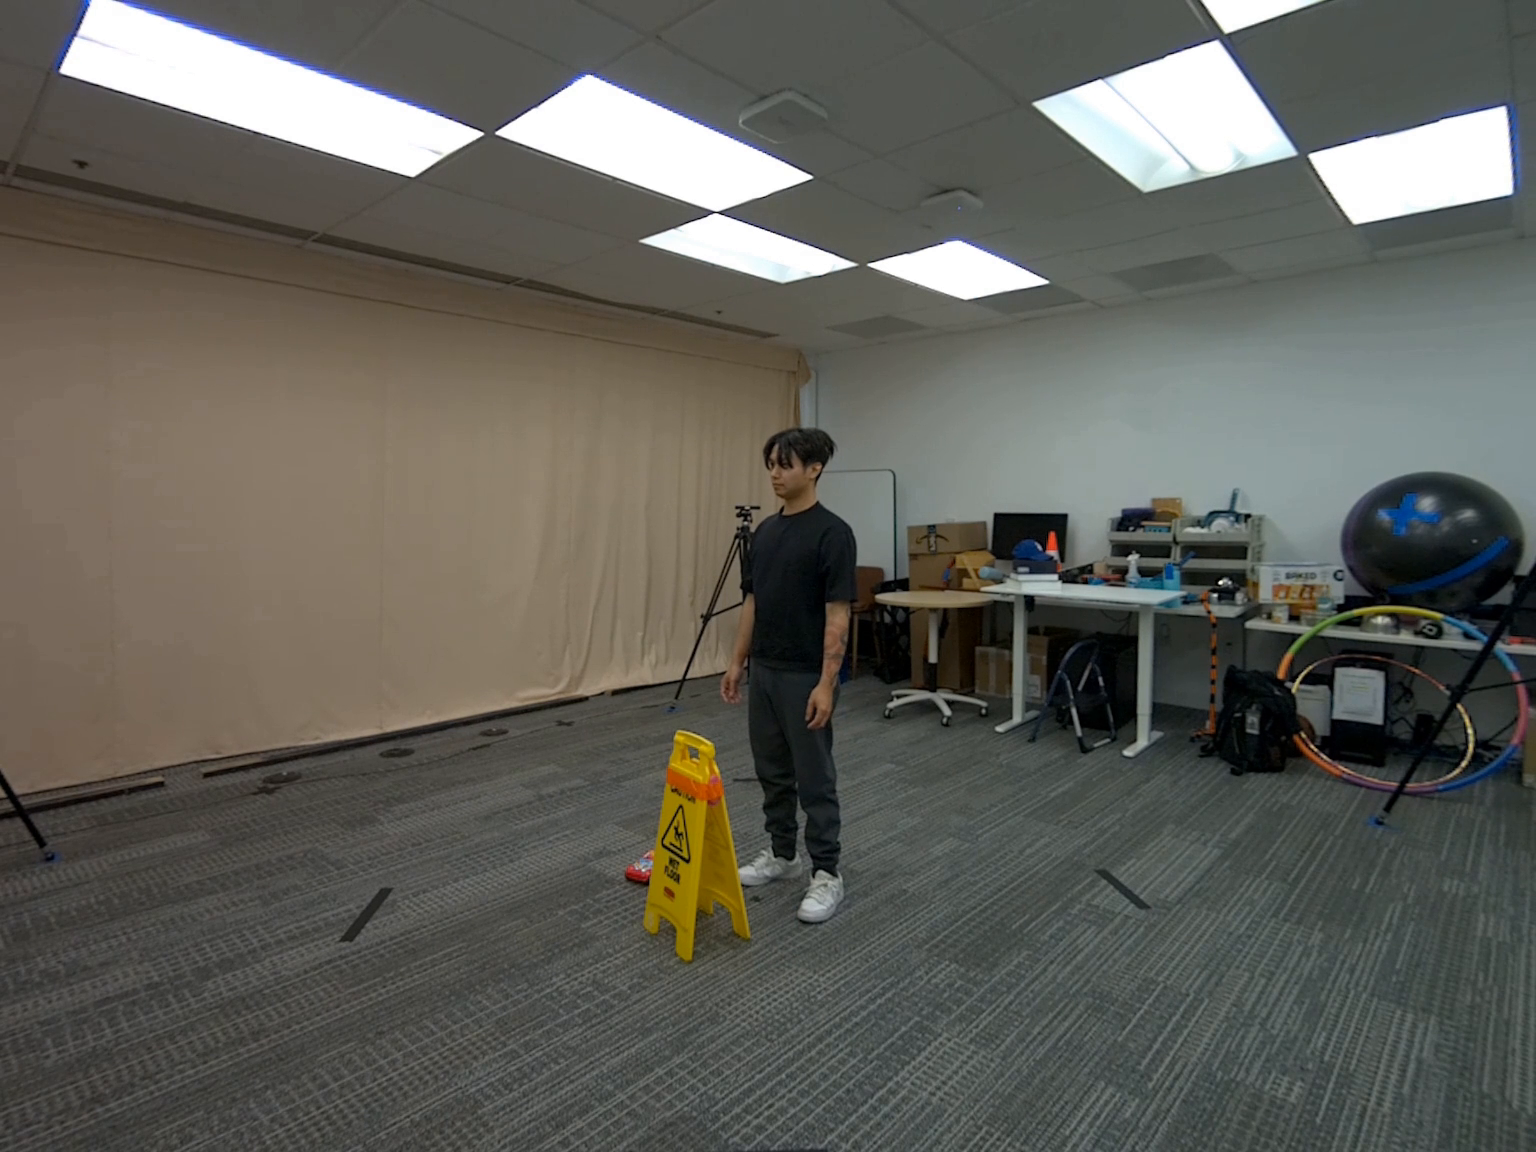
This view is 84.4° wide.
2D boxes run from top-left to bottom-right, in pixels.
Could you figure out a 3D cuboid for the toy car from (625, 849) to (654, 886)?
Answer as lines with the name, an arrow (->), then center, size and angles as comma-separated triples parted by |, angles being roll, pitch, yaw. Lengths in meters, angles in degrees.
toy car -> -0.435, 1.100, 3.206 | 0.134, 0.082, 0.250 | 1, 15, 29
